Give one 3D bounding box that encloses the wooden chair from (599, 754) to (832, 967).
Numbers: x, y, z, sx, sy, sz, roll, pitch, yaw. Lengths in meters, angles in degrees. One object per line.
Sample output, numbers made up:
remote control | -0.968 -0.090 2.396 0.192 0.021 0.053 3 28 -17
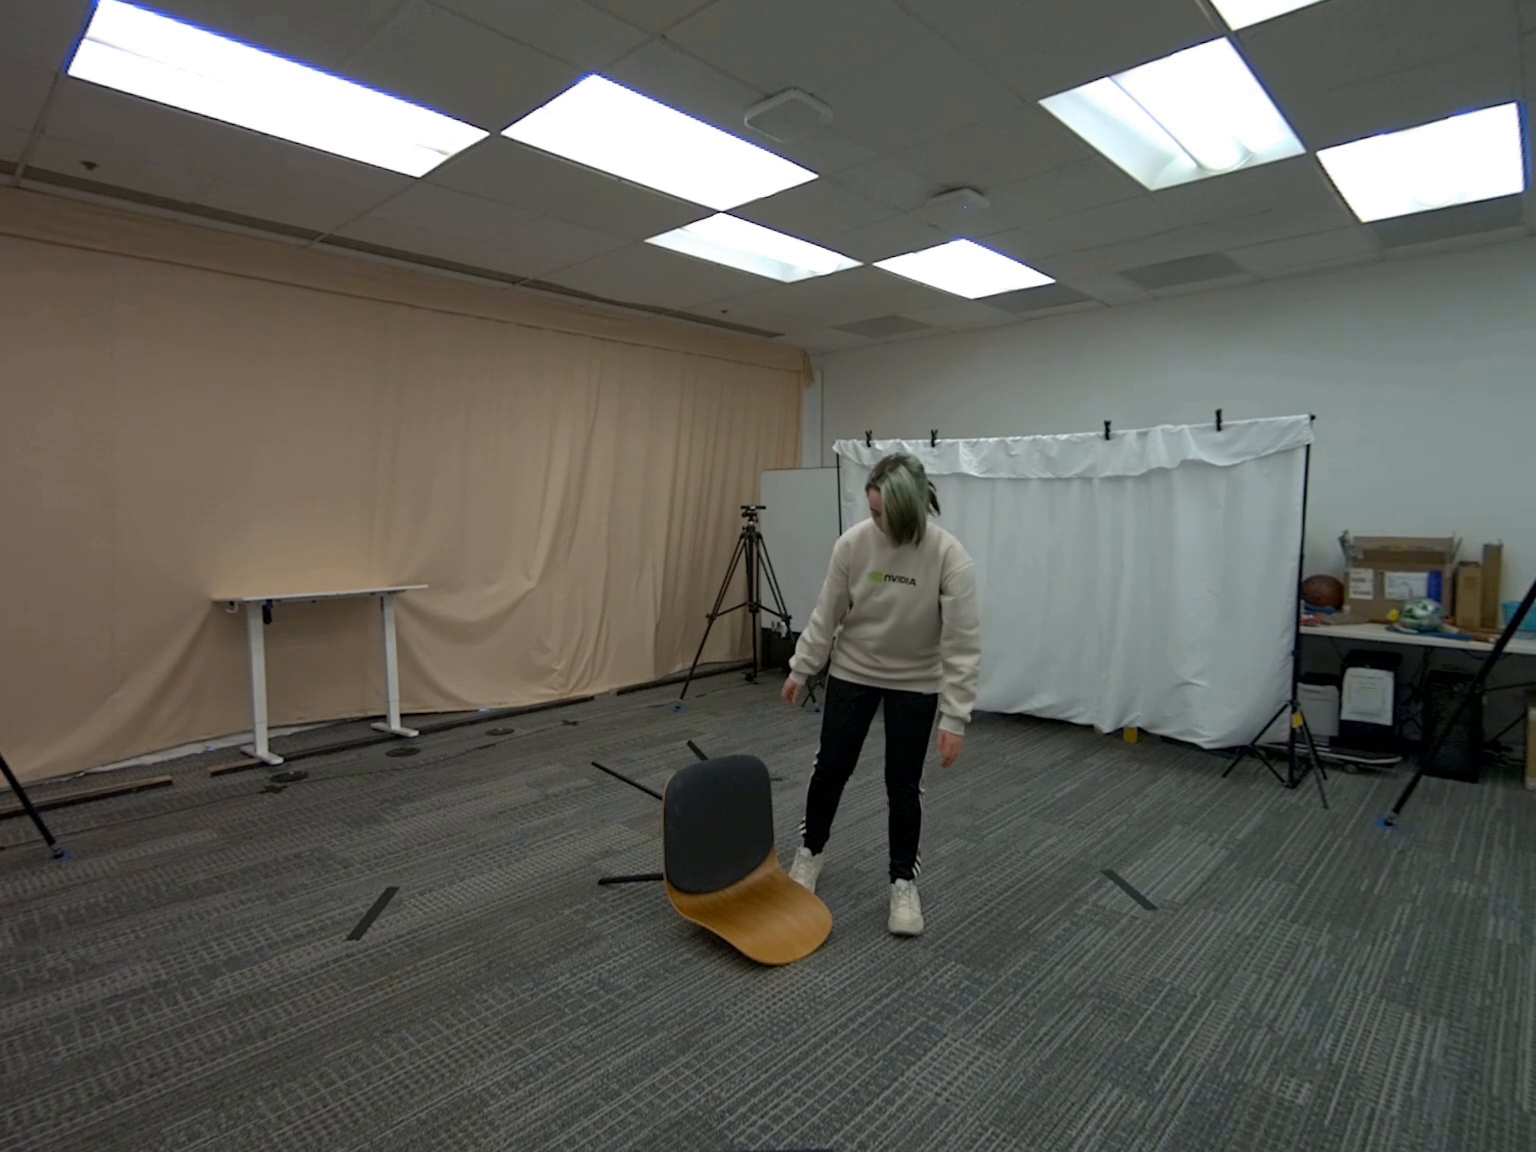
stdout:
wooden chair | -0.186 0.894 2.908 0.464 0.521 0.907 -4 7 -40
